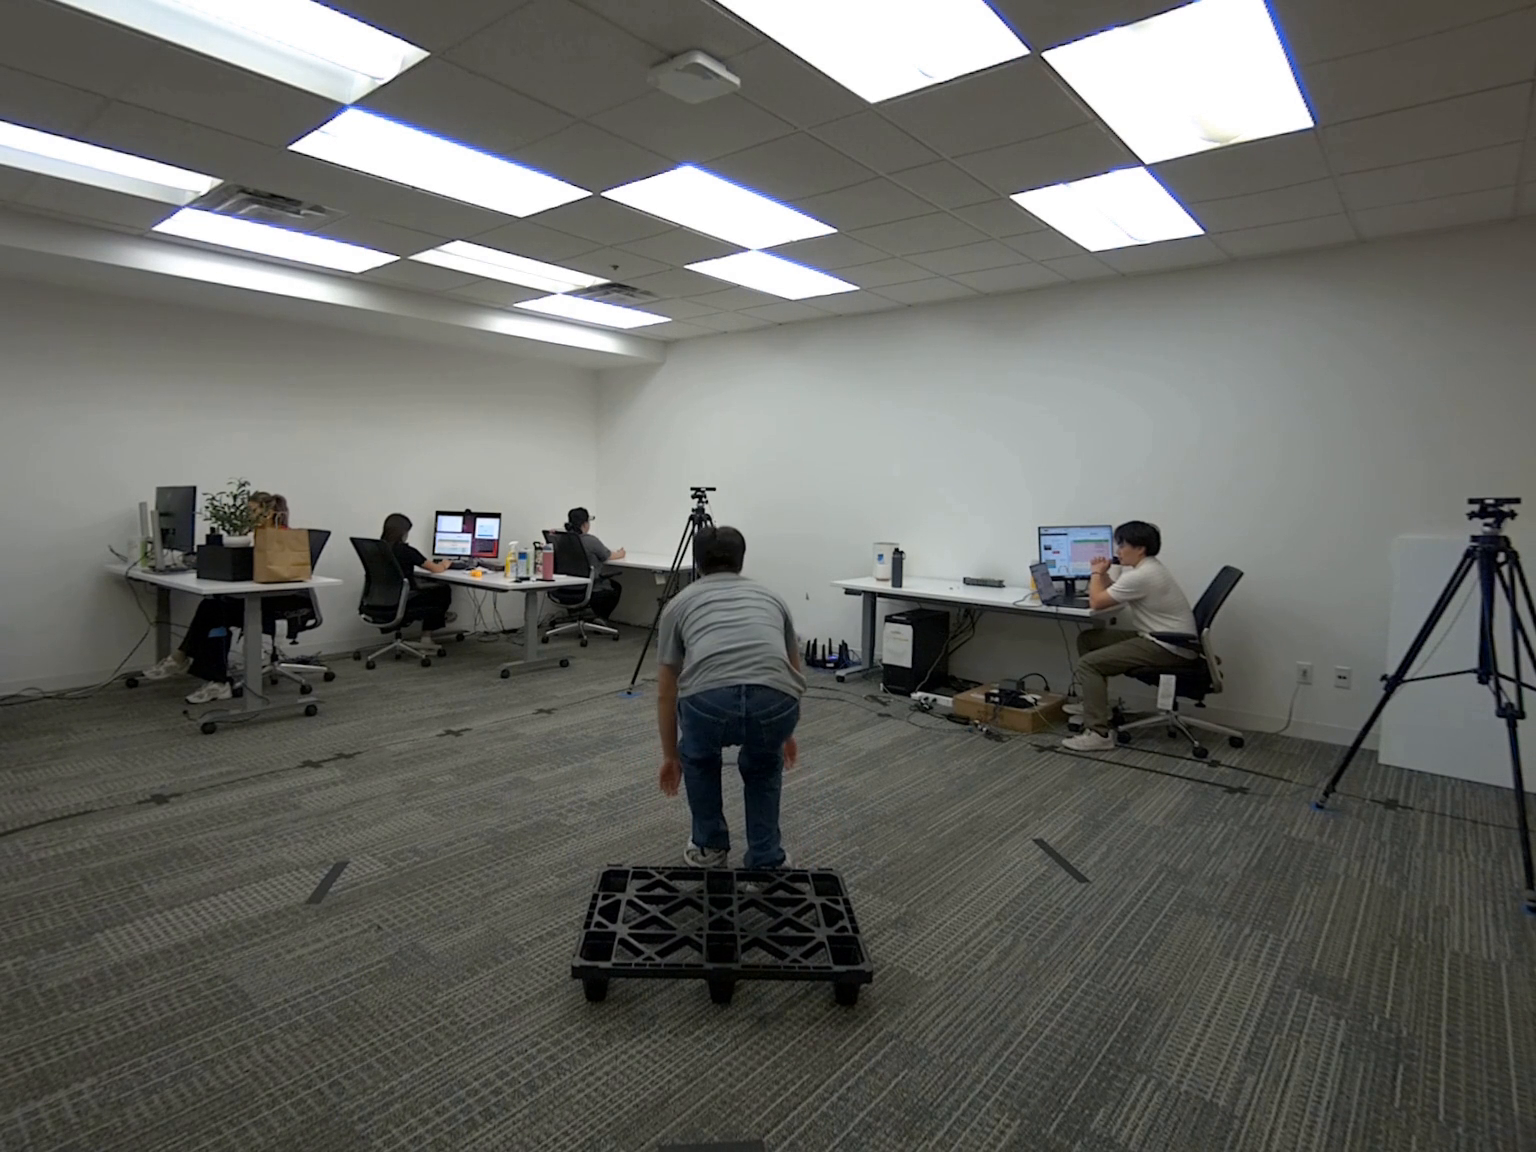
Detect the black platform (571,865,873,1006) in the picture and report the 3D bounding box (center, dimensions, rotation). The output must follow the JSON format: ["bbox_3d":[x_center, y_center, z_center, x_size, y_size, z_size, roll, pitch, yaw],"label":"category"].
[{"bbox_3d":[-0.151,1.053,2.527,0.805,0.143,0.608,1,5,-1],"label":"black platform"}]
